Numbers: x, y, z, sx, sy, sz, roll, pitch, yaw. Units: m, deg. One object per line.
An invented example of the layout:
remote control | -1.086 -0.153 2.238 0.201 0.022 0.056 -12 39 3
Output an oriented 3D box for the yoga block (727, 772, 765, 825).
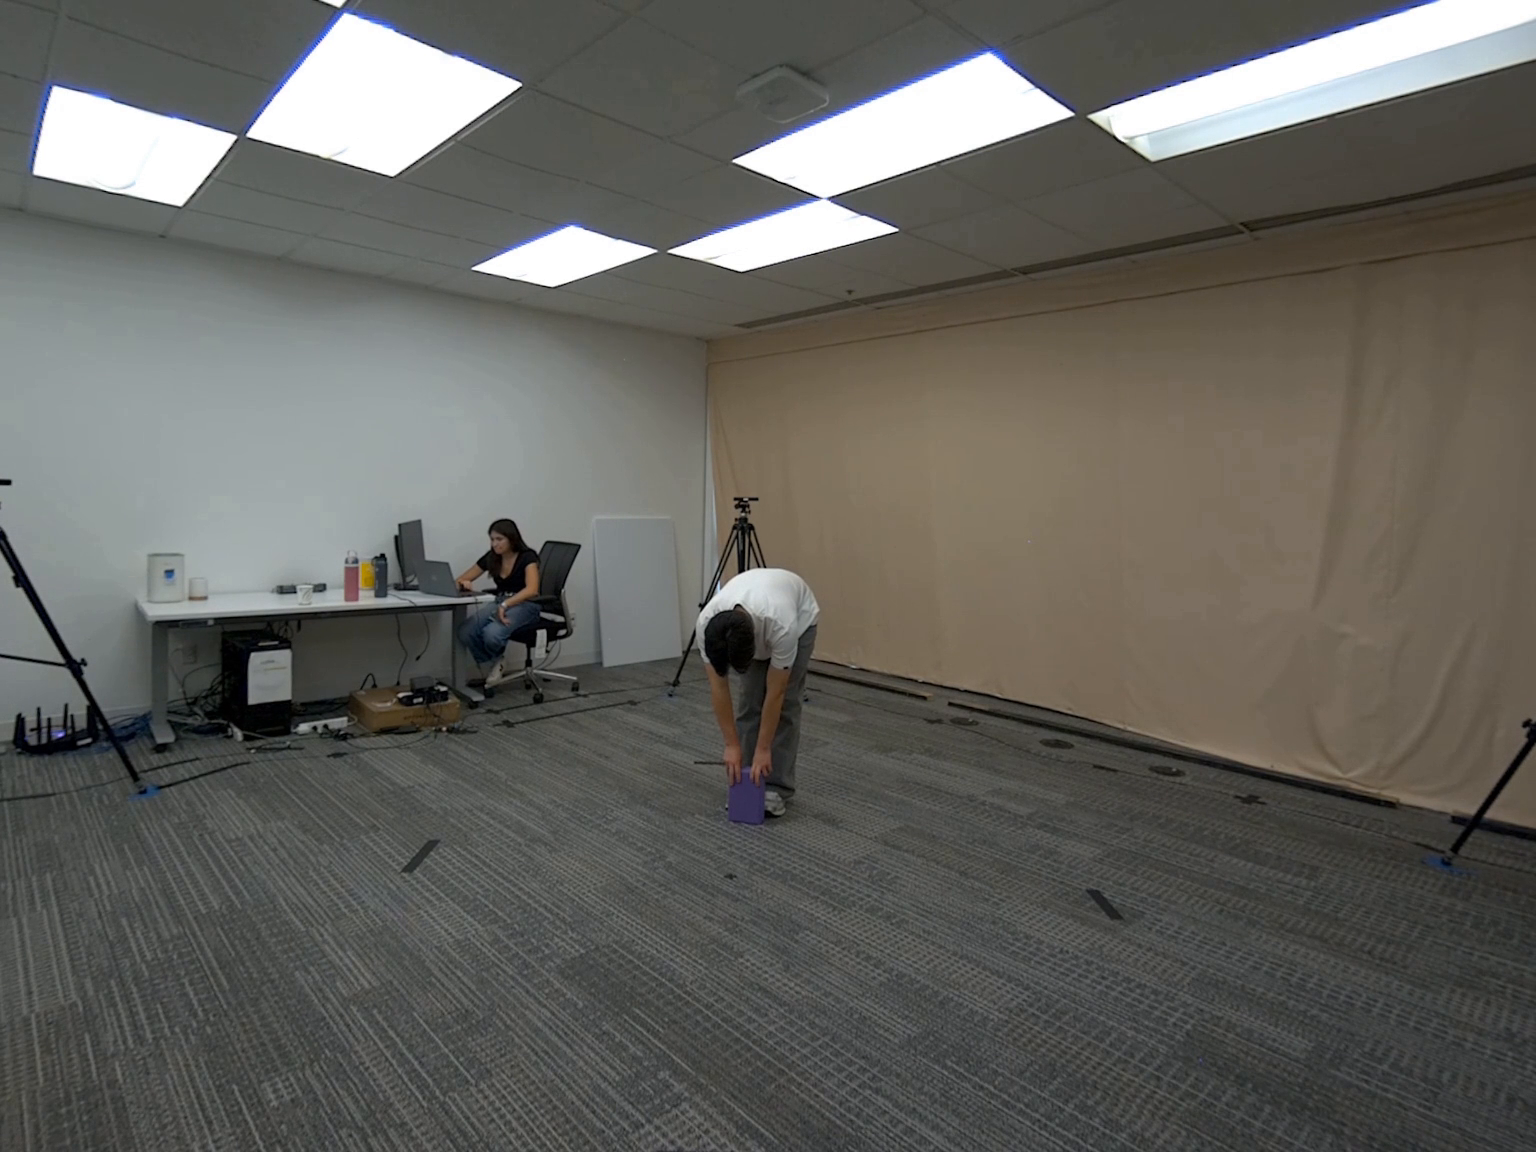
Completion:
yoga block | -0.113 0.961 3.645 0.150 0.229 0.076 1 2 12
